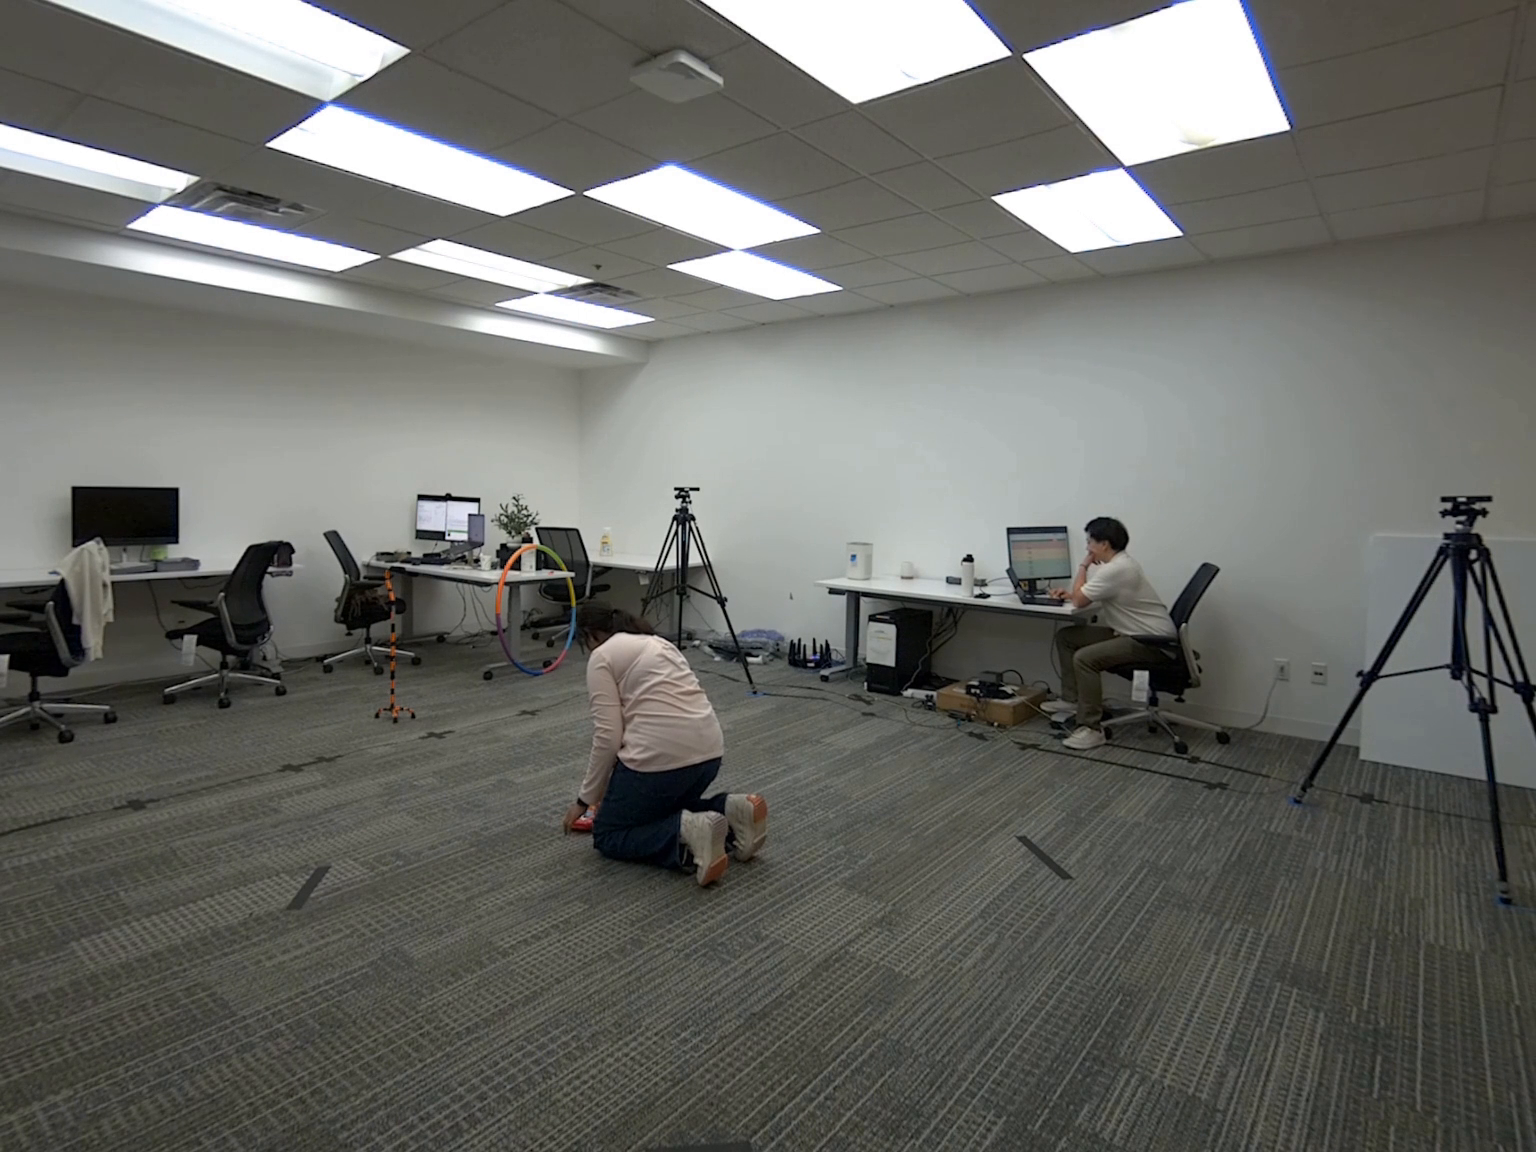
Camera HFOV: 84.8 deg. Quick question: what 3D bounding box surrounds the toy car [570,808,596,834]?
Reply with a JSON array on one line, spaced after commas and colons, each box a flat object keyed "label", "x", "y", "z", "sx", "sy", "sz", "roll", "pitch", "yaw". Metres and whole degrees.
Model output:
[{"label": "toy car", "x": -0.748, "y": 0.992, "z": 3.532, "sx": 0.132, "sy": 0.082, "sz": 0.253, "roll": -1, "pitch": 12, "yaw": 14}]
